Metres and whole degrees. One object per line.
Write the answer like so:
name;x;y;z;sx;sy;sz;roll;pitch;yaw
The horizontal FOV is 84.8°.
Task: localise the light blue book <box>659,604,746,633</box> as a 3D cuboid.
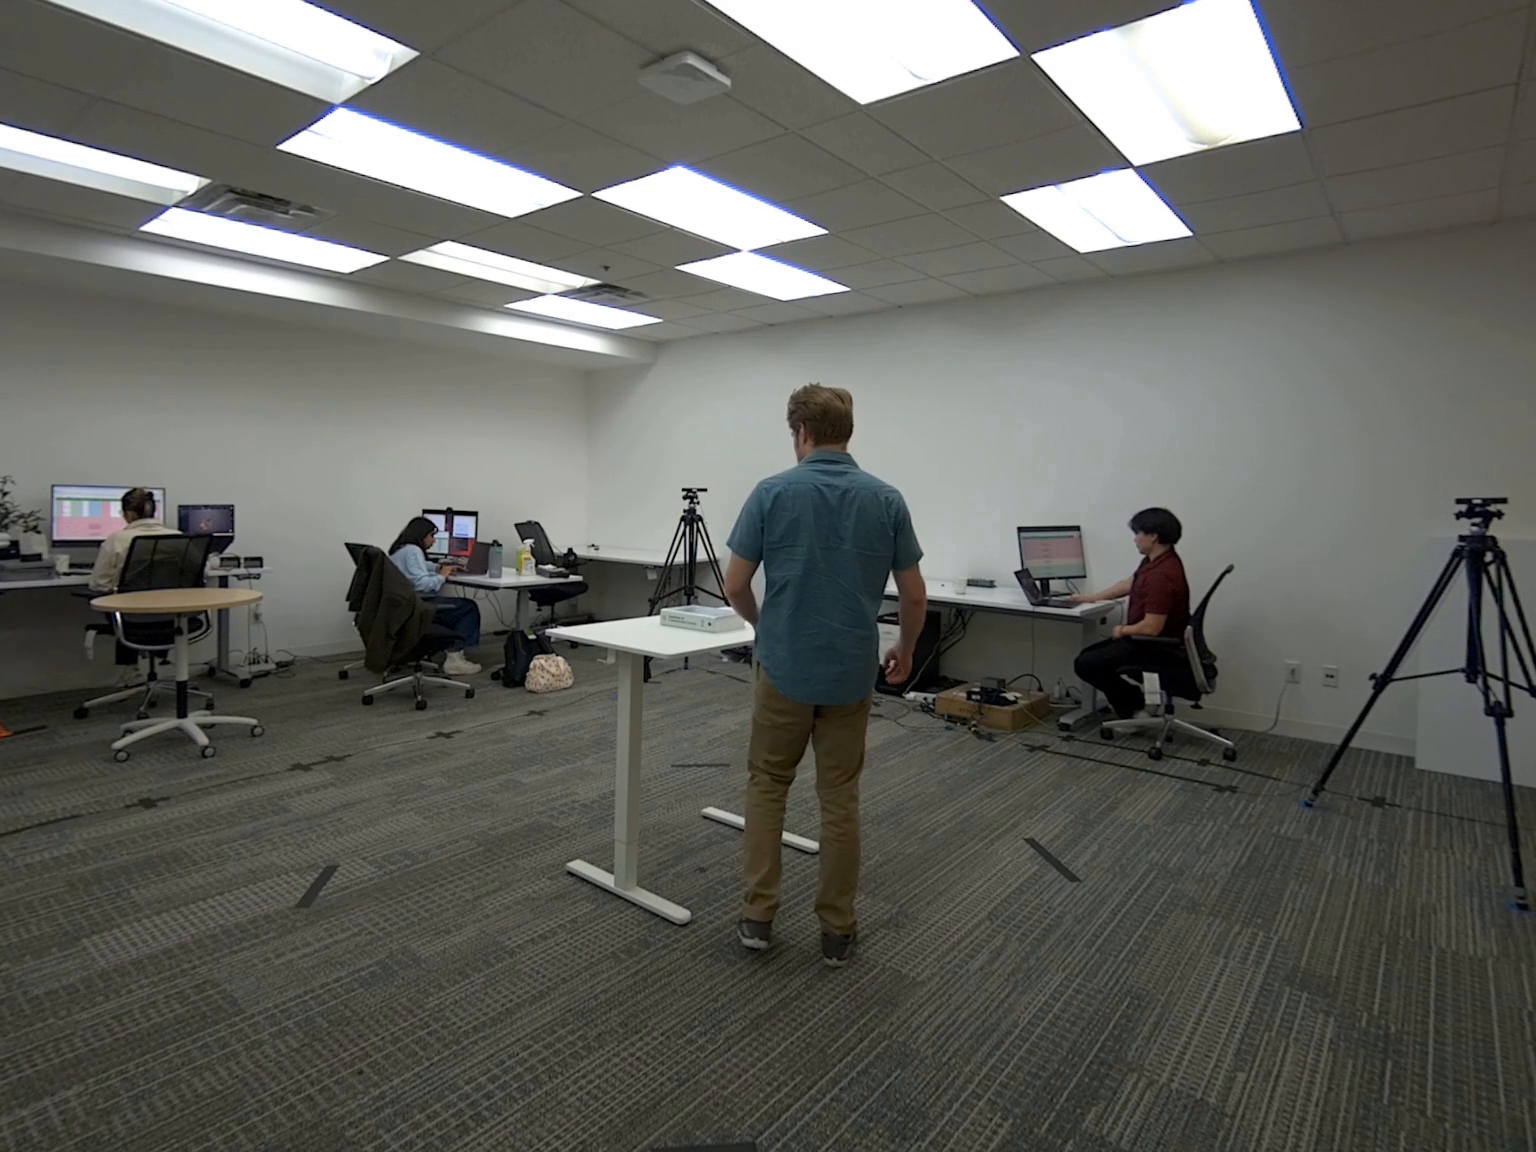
light blue book;-0.245;0.154;3.139;0.269;0.059;0.186;5;7;36
